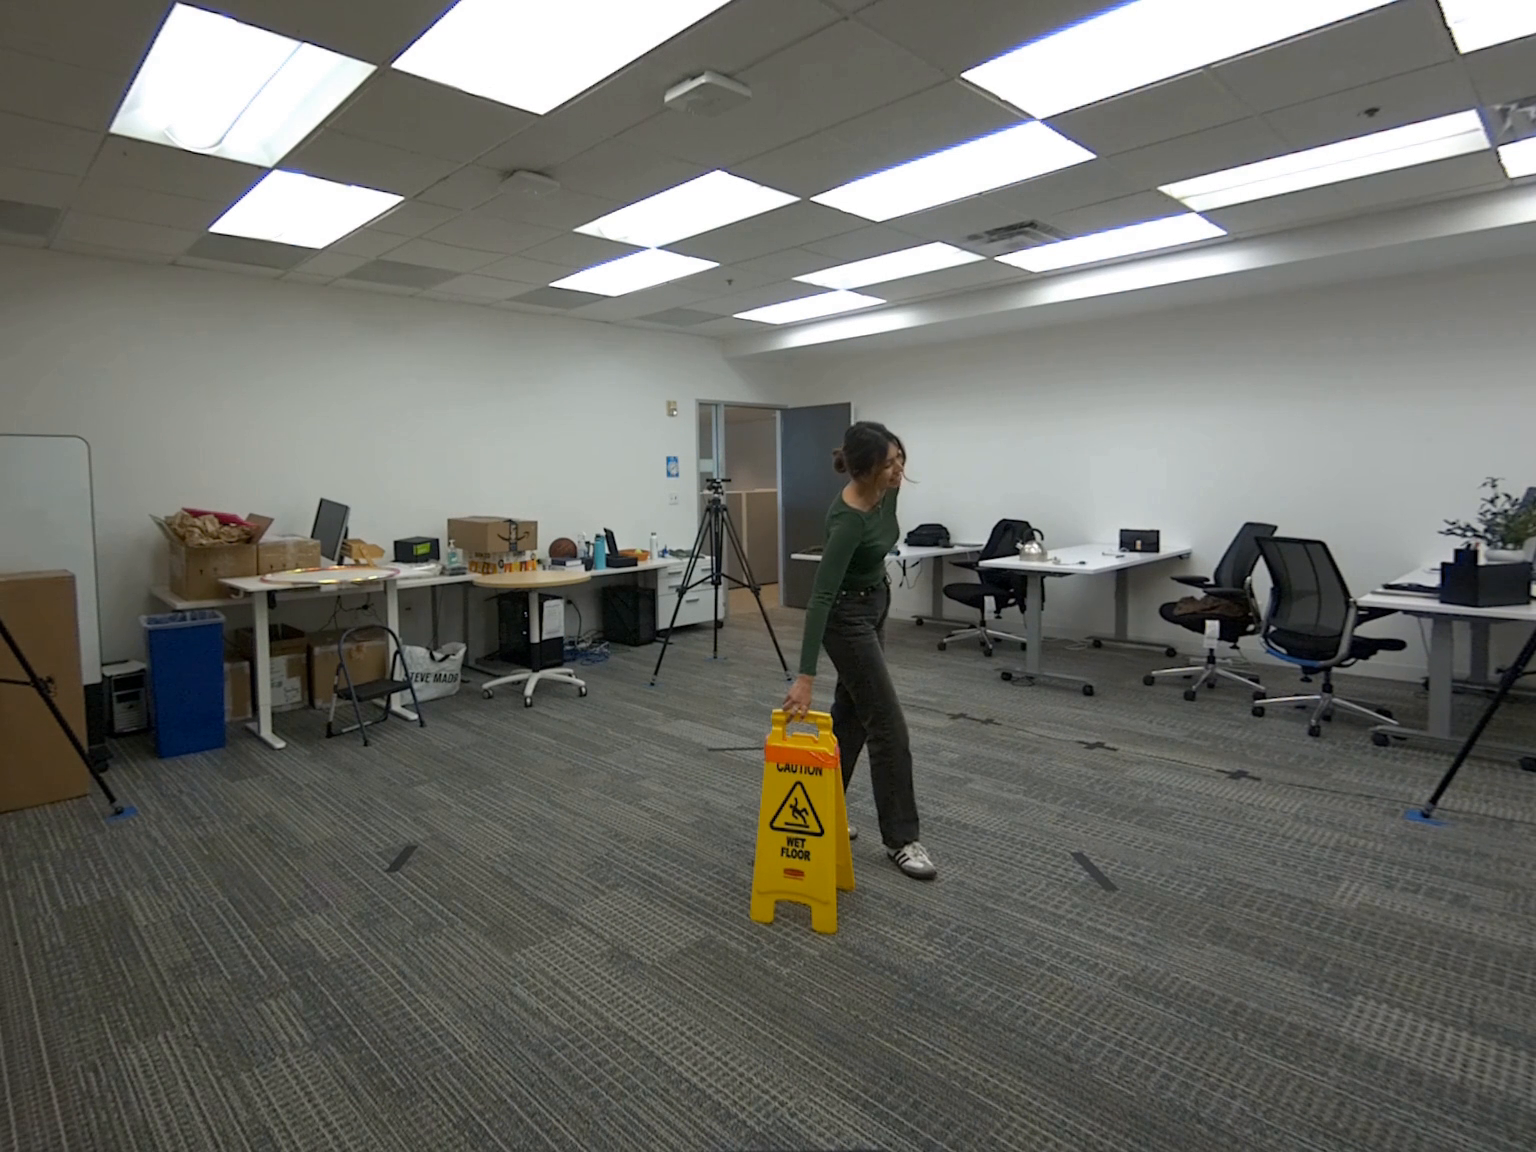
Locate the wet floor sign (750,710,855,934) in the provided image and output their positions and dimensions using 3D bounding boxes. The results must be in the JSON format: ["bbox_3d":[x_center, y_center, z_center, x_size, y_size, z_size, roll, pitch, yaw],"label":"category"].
[{"bbox_3d":[0.118,0.757,2.783,0.288,0.644,0.285,2,4,19],"label":"wet floor sign"}]
